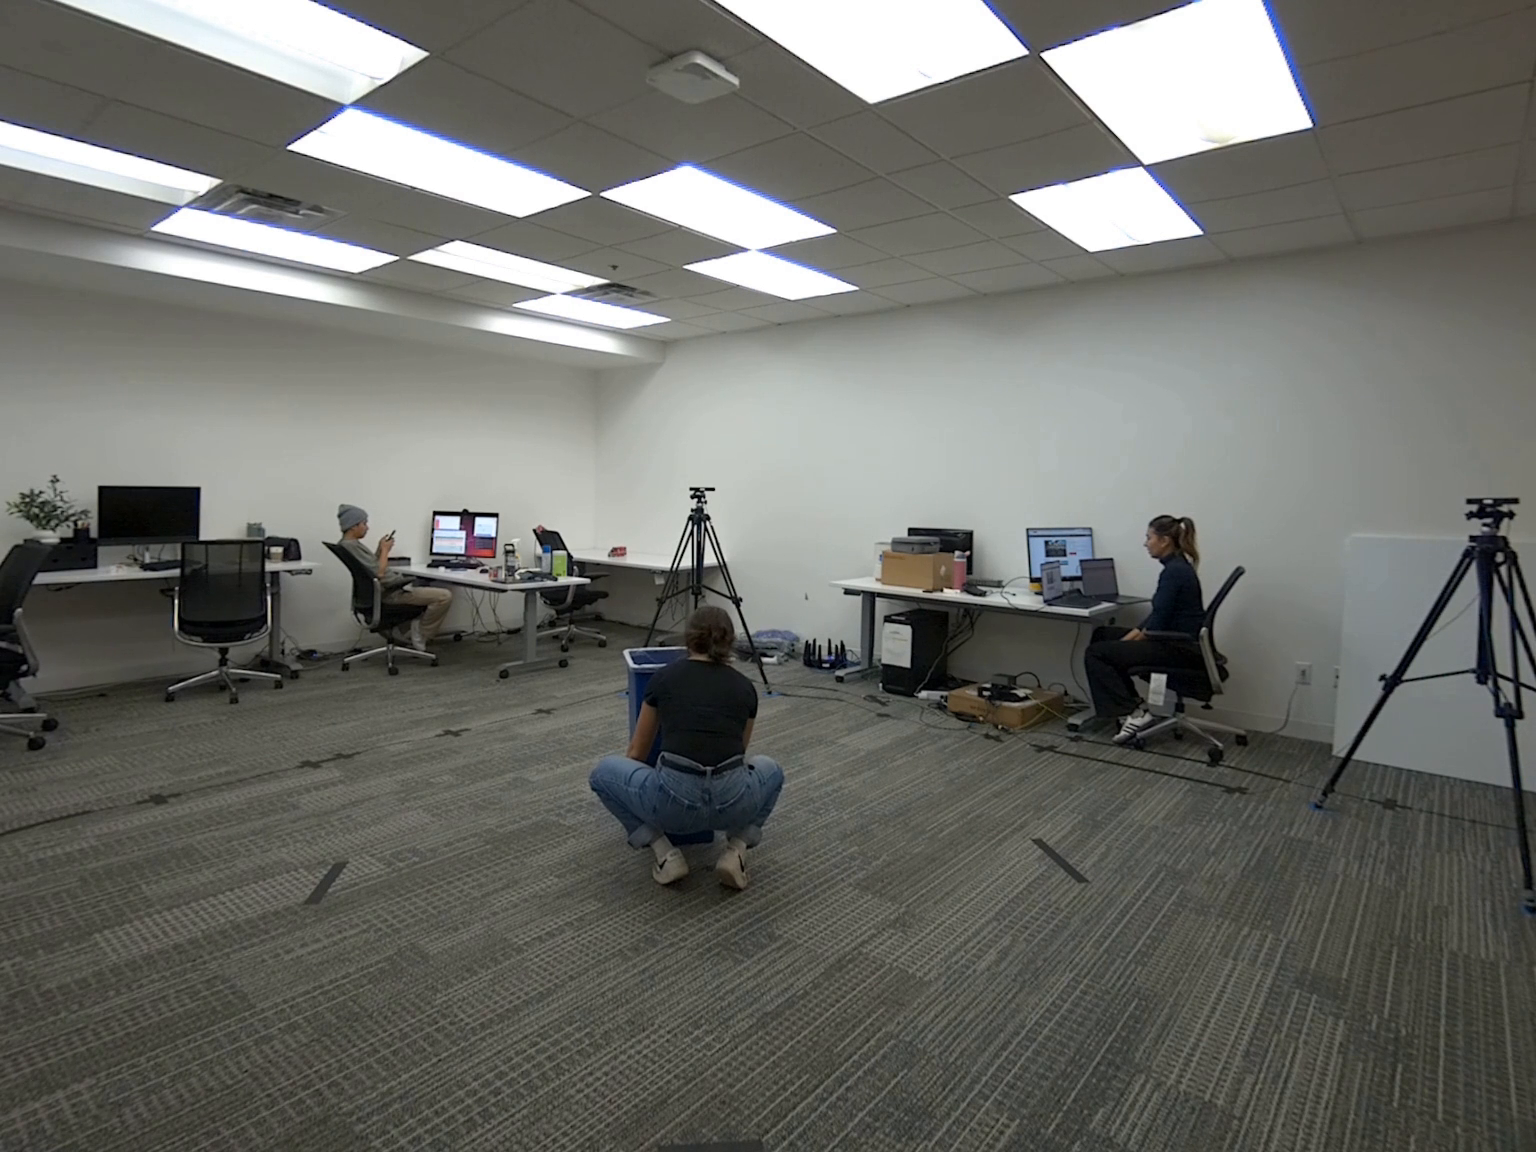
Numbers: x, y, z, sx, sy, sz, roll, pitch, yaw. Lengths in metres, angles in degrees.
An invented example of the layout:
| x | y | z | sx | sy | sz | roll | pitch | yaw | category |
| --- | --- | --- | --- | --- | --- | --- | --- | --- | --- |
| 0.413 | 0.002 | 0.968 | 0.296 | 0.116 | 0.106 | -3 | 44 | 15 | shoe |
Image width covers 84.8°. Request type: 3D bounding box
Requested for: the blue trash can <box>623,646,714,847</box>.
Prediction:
| x | y | z | sx | sy | sz | roll | pitch | yaw | category |
| --- | --- | --- | --- | --- | --- | --- | --- | --- | --- |
| -0.400 | 0.671 | 3.439 | 0.369 | 0.712 | 0.384 | 0 | 3 | -14 | blue trash can |
